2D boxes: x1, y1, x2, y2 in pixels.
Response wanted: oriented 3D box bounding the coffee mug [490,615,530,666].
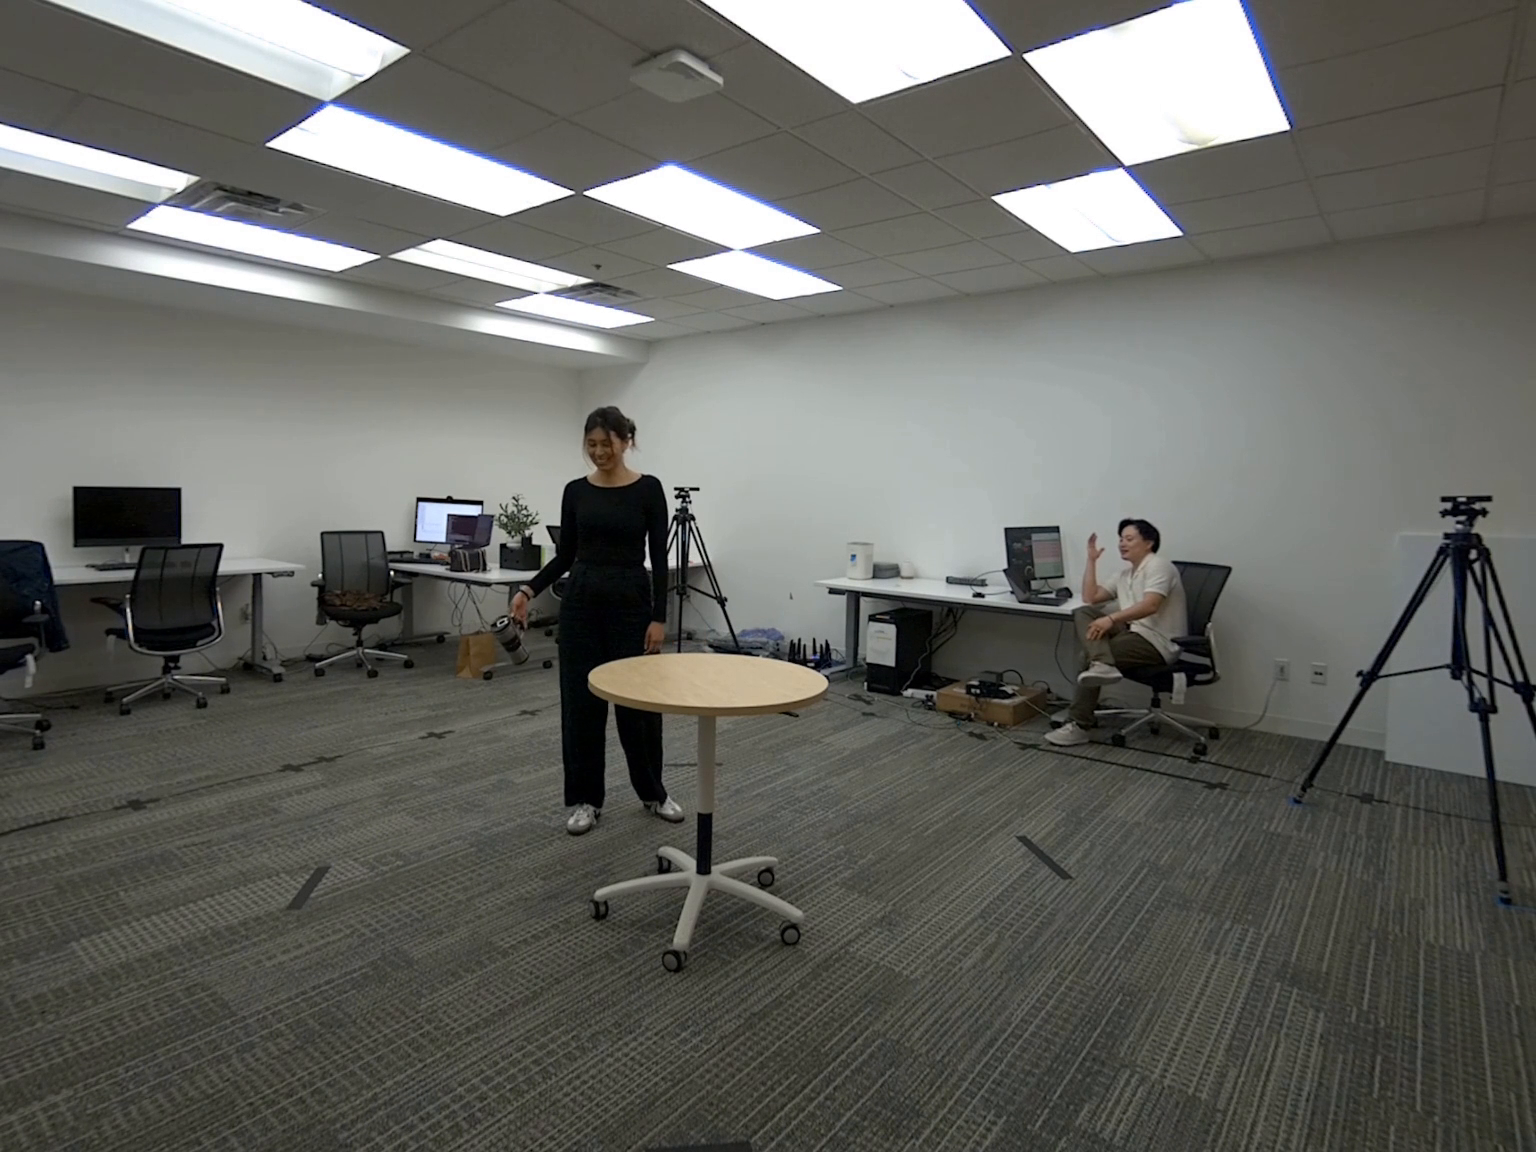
[{"bbox_3d":[-1.018,0.243,3.365,0.121,0.196,0.091,-41,33,-21],"label":"coffee mug"}]
